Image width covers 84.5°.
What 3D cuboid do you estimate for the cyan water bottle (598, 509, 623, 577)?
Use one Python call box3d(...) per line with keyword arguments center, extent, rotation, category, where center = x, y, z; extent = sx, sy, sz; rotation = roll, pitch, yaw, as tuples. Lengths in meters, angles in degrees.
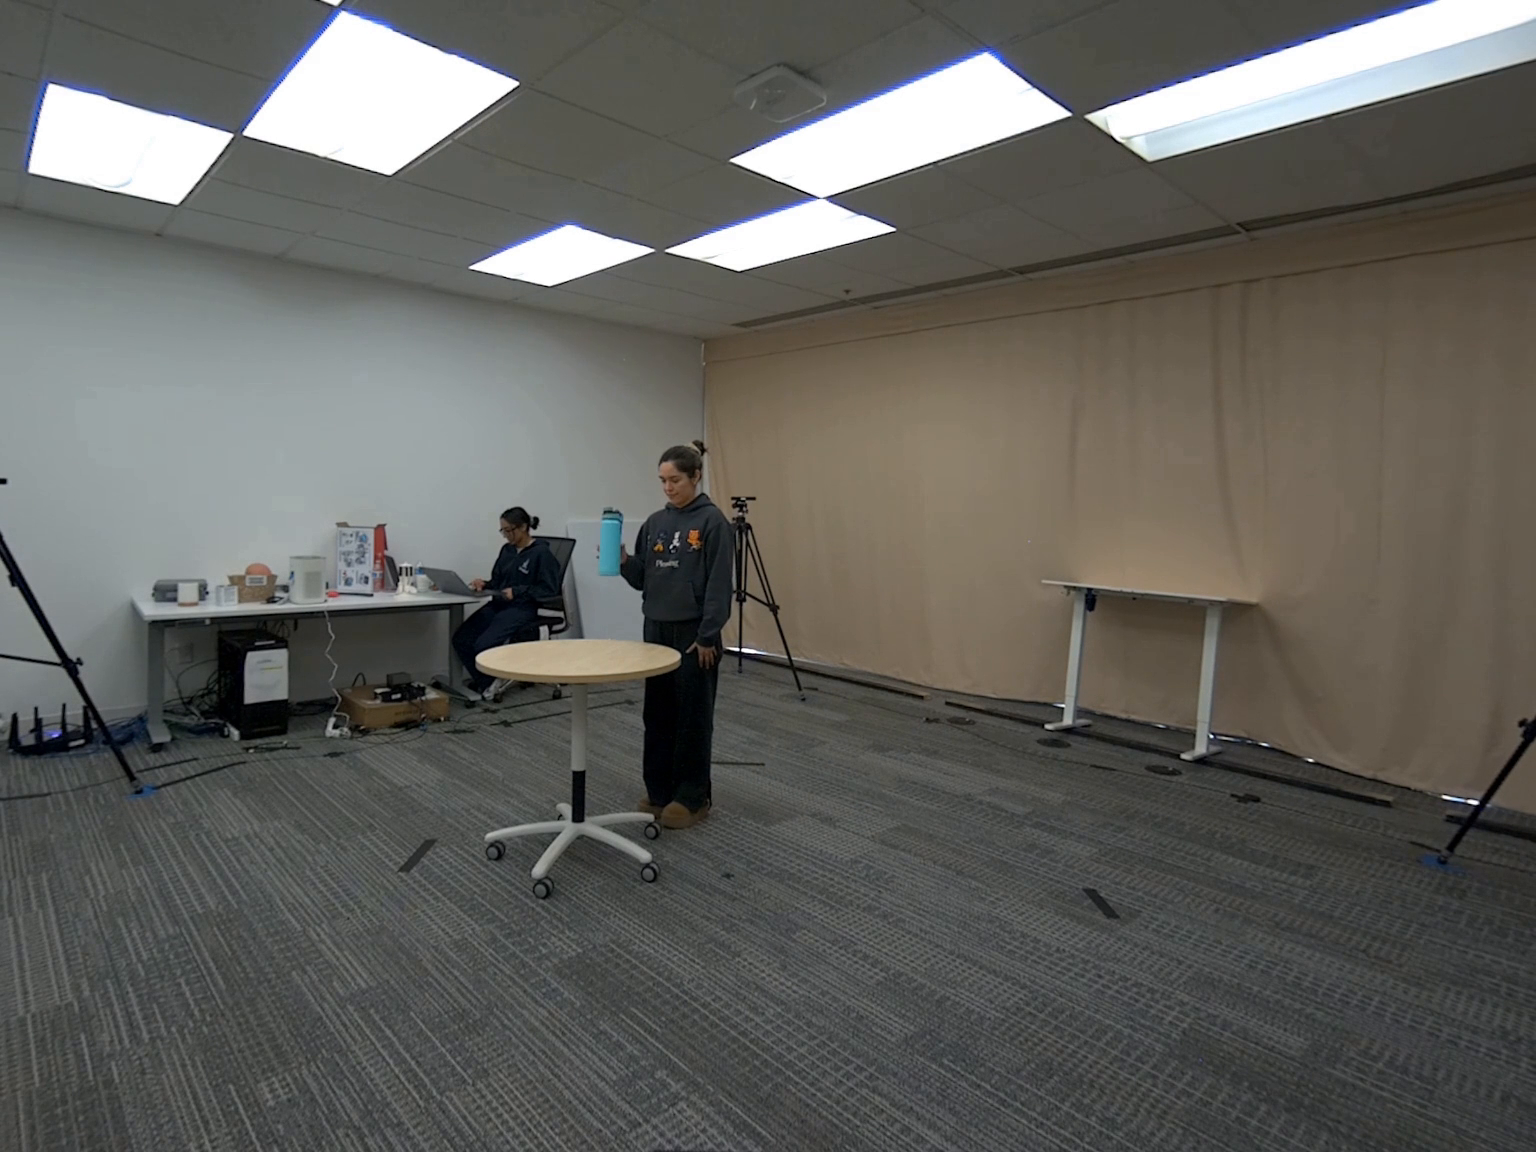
box3d(center=(-0.669, -0.136, 3.502), extent=(0.092, 0.284, 0.092), rotation=(2, -4, -1), category="cyan water bottle")
